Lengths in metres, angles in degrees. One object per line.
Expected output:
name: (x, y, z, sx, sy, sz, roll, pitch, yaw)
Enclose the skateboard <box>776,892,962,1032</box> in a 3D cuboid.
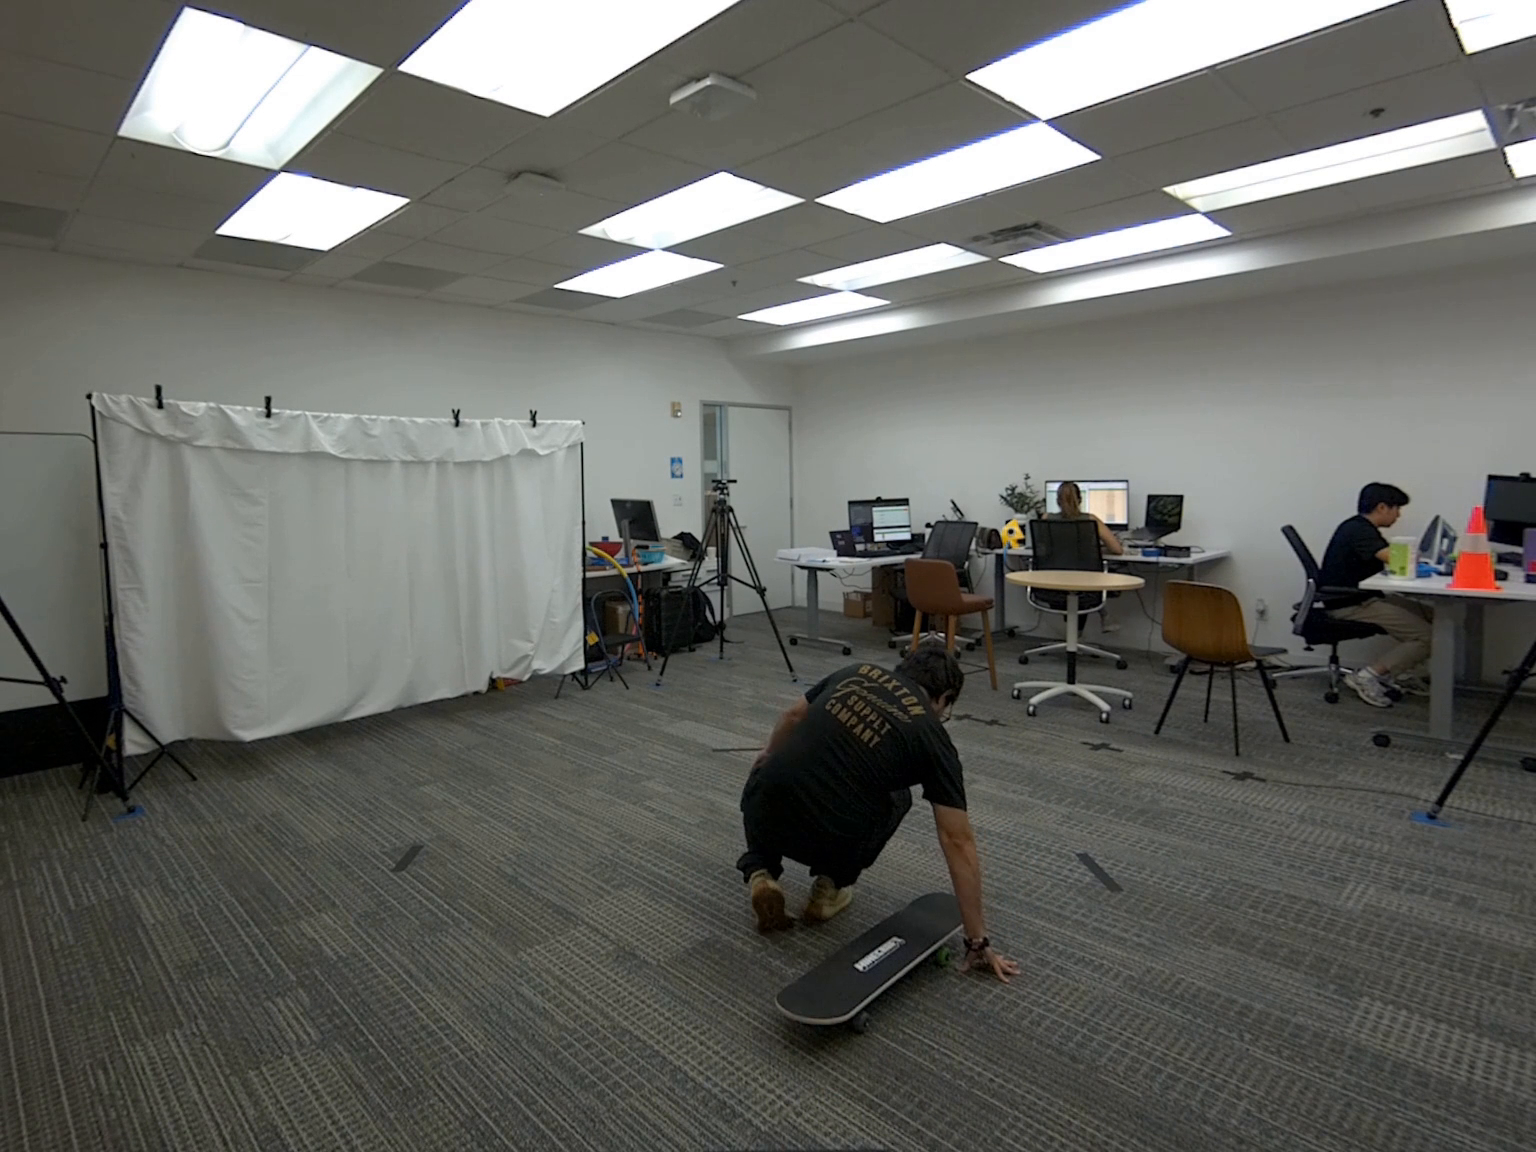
skateboard: (0.318, 1.073, 2.355, 0.199, 0.110, 0.765, 2, 7, 43)
